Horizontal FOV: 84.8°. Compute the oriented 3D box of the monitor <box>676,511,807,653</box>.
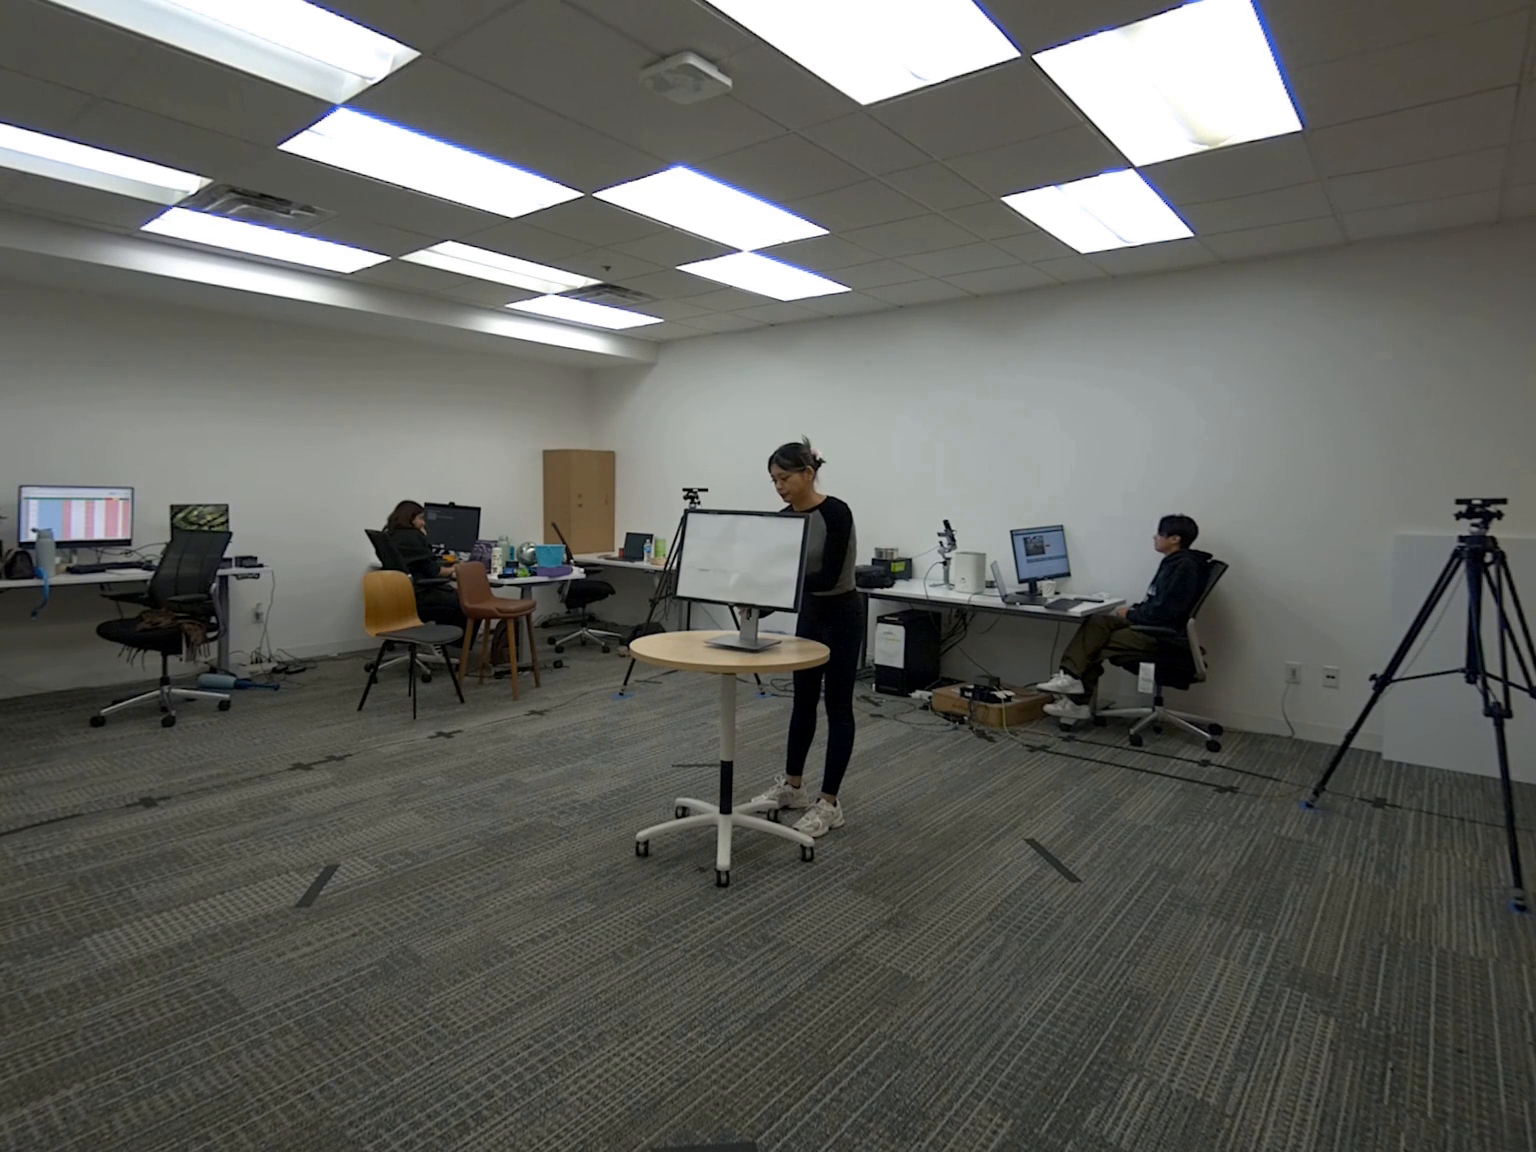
[{"bbox_3d":[-0.106,0.009,3.236,0.547,0.511,0.171,5,11,32],"label":"monitor"}]
